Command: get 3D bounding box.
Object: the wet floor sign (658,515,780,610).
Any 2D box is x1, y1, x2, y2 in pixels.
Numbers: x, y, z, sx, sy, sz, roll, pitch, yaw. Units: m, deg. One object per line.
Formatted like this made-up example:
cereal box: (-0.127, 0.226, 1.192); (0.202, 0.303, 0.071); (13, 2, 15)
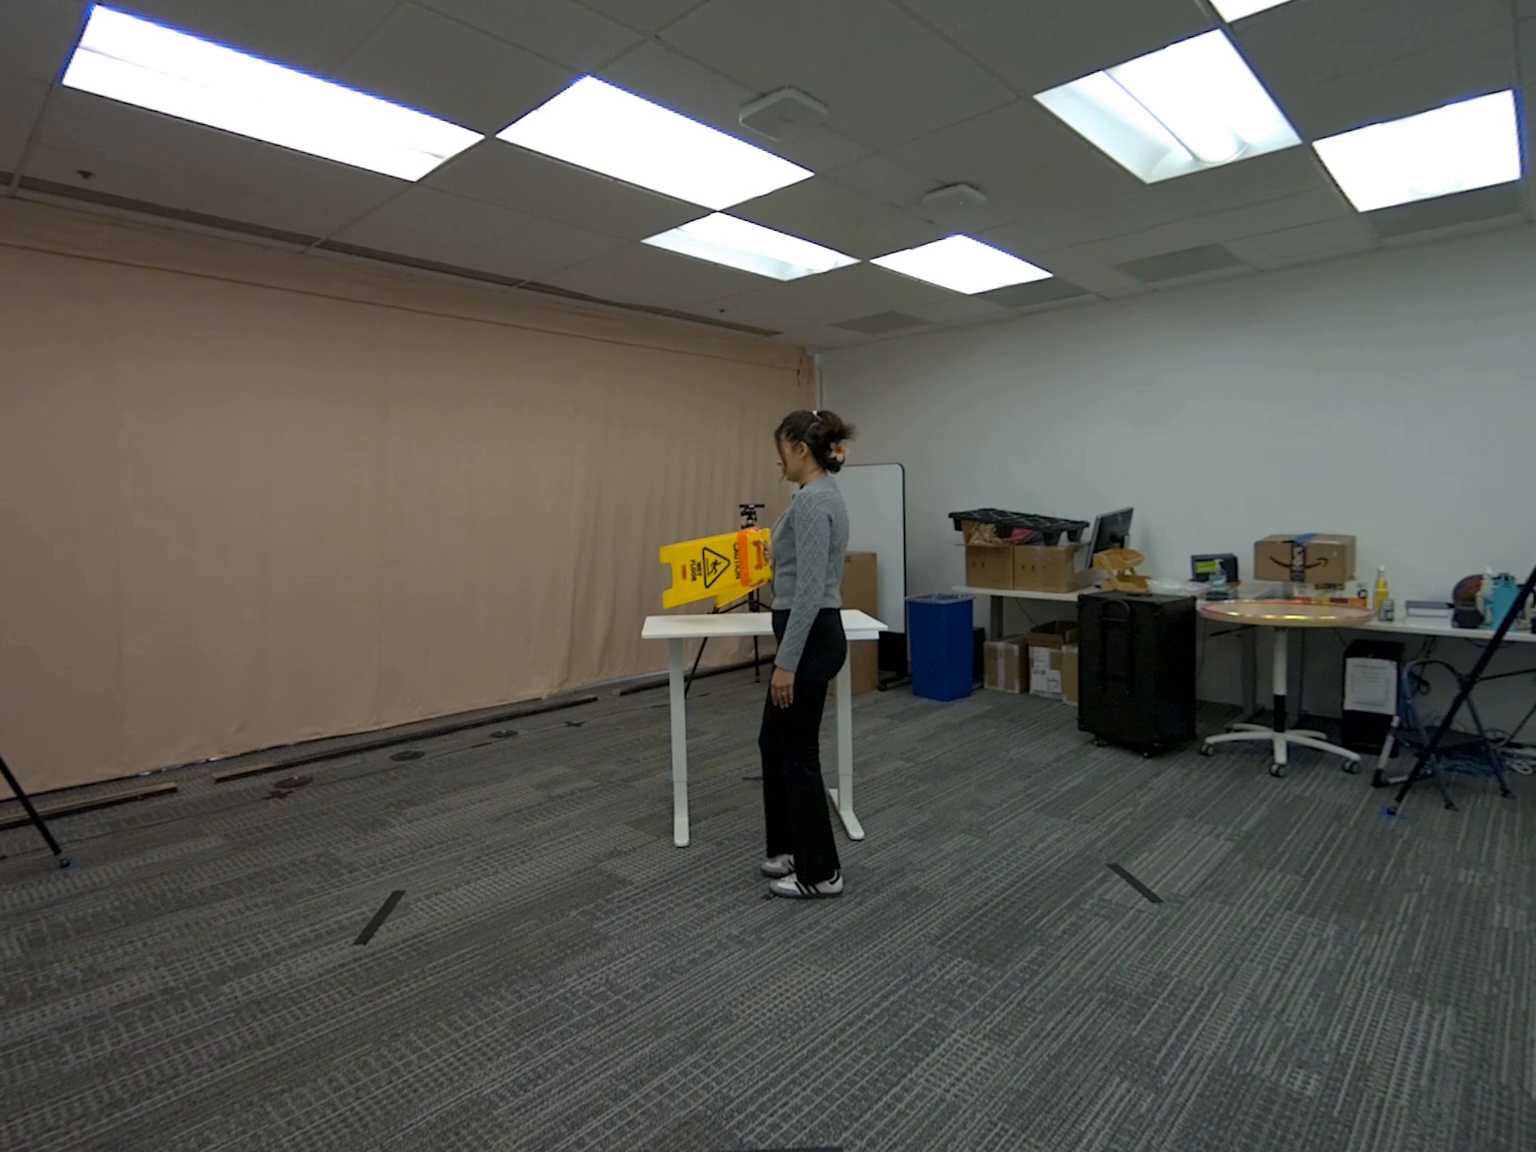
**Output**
wet floor sign: (-0.177, -0.043, 3.617); (0.281, 0.284, 0.661); (2, -11, -35)
